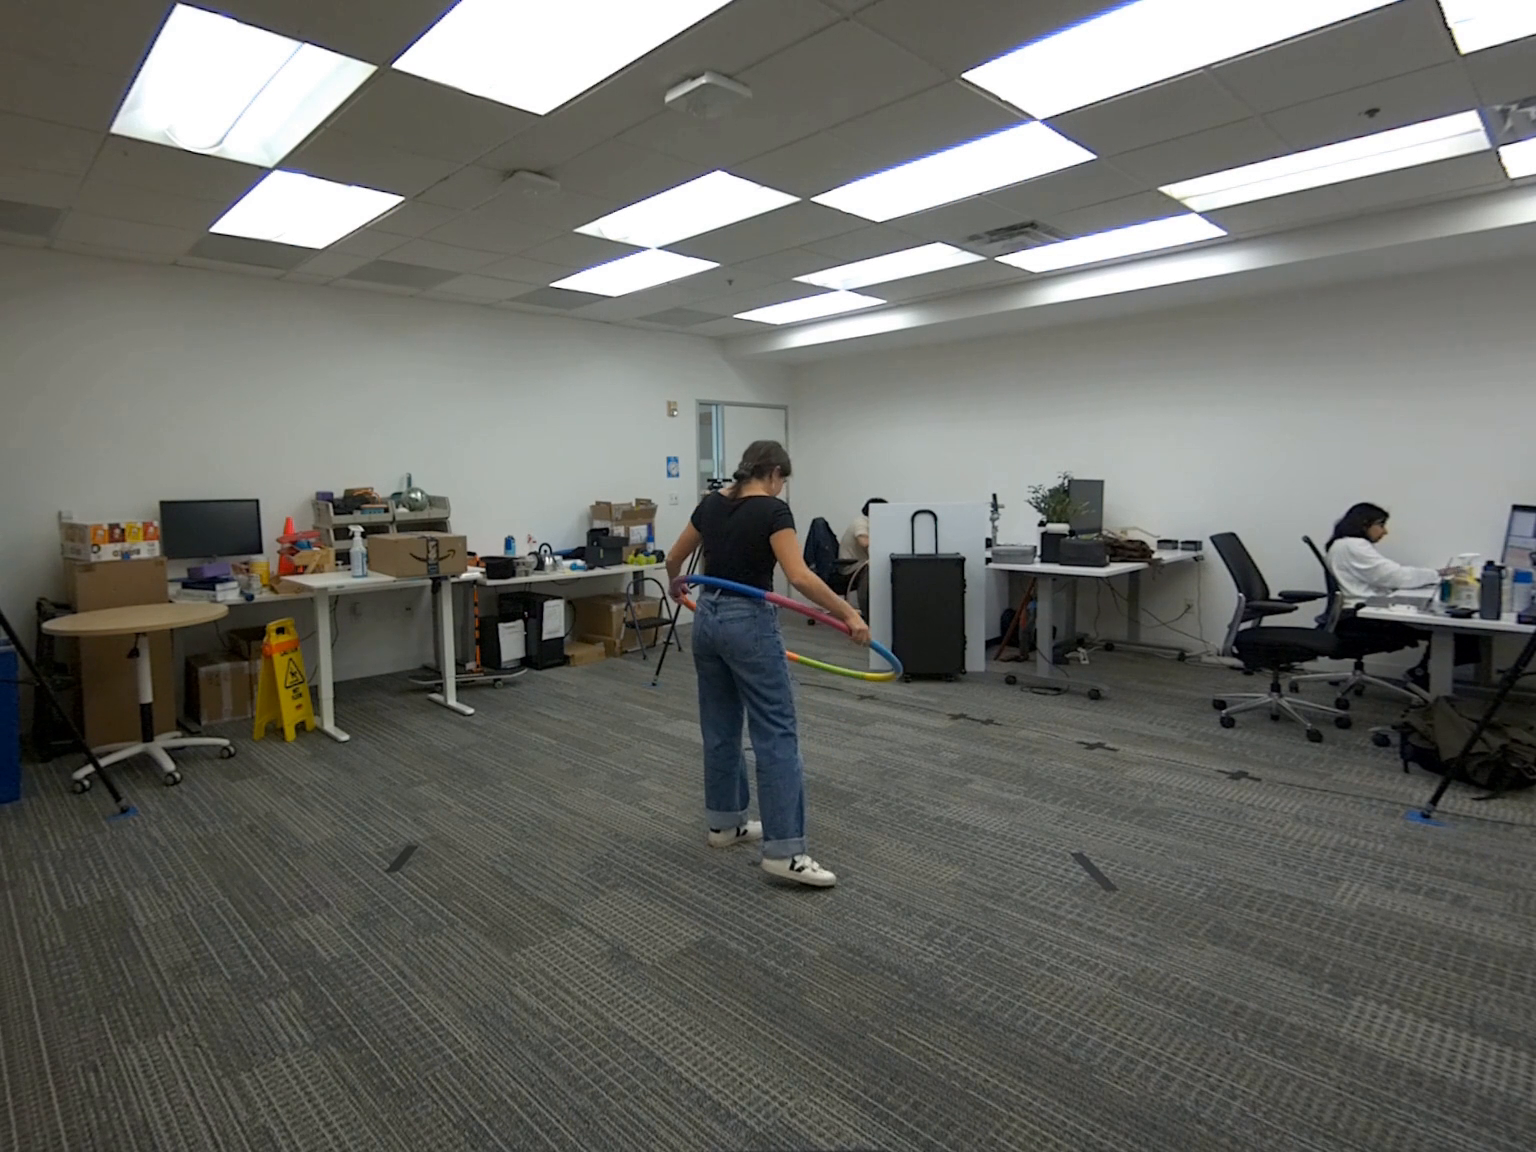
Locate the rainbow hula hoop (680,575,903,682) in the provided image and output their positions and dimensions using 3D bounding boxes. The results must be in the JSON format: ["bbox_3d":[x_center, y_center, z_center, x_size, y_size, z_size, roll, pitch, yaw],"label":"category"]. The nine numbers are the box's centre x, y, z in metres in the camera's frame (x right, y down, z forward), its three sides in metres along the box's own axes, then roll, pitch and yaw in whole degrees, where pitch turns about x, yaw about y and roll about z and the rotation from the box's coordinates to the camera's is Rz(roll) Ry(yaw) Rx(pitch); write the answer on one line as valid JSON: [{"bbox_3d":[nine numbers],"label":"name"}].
[{"bbox_3d":[0.057,0.230,3.446,0.987,0.036,0.964,23,-16,6],"label":"rainbow hula hoop"}]
